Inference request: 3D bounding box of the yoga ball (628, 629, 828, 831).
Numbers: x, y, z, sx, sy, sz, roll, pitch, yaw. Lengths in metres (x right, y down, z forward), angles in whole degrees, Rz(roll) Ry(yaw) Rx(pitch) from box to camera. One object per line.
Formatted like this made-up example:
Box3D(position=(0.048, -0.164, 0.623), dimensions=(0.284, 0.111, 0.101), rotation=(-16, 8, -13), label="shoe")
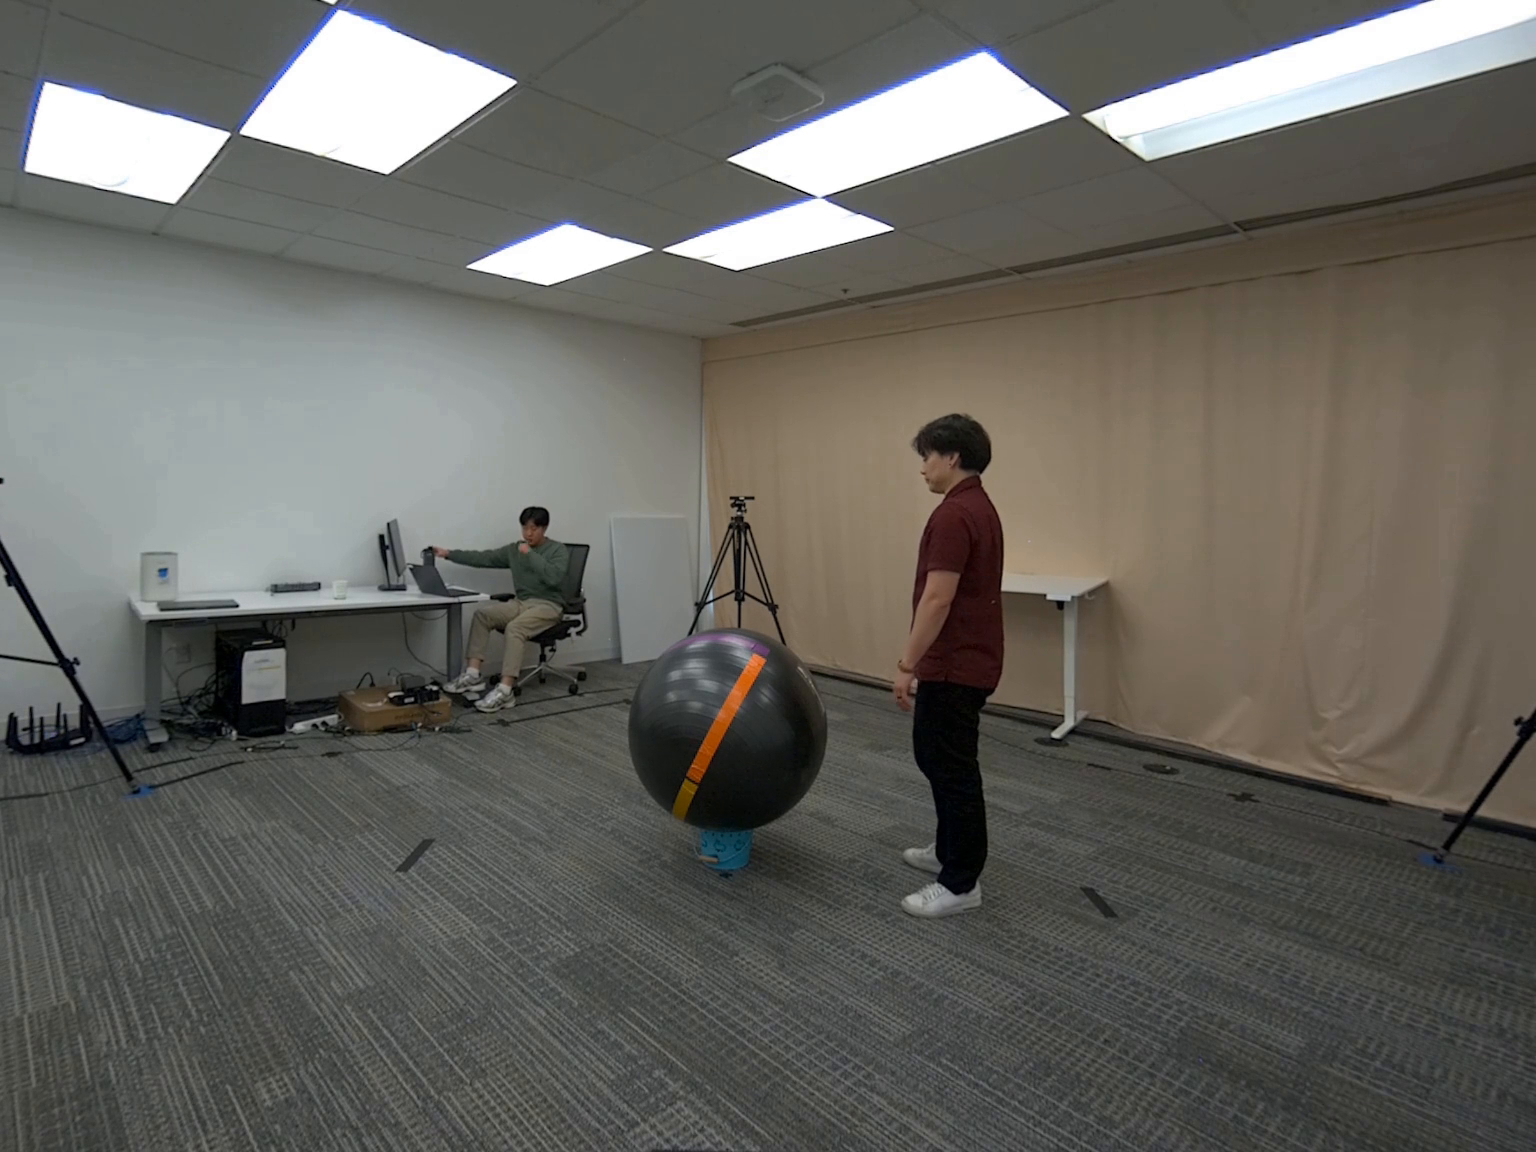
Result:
Box3D(position=(-0.159, 0.581, 3.212), dimensions=(0.757, 0.756, 0.761), rotation=(1, 4, -1), label="yoga ball")
